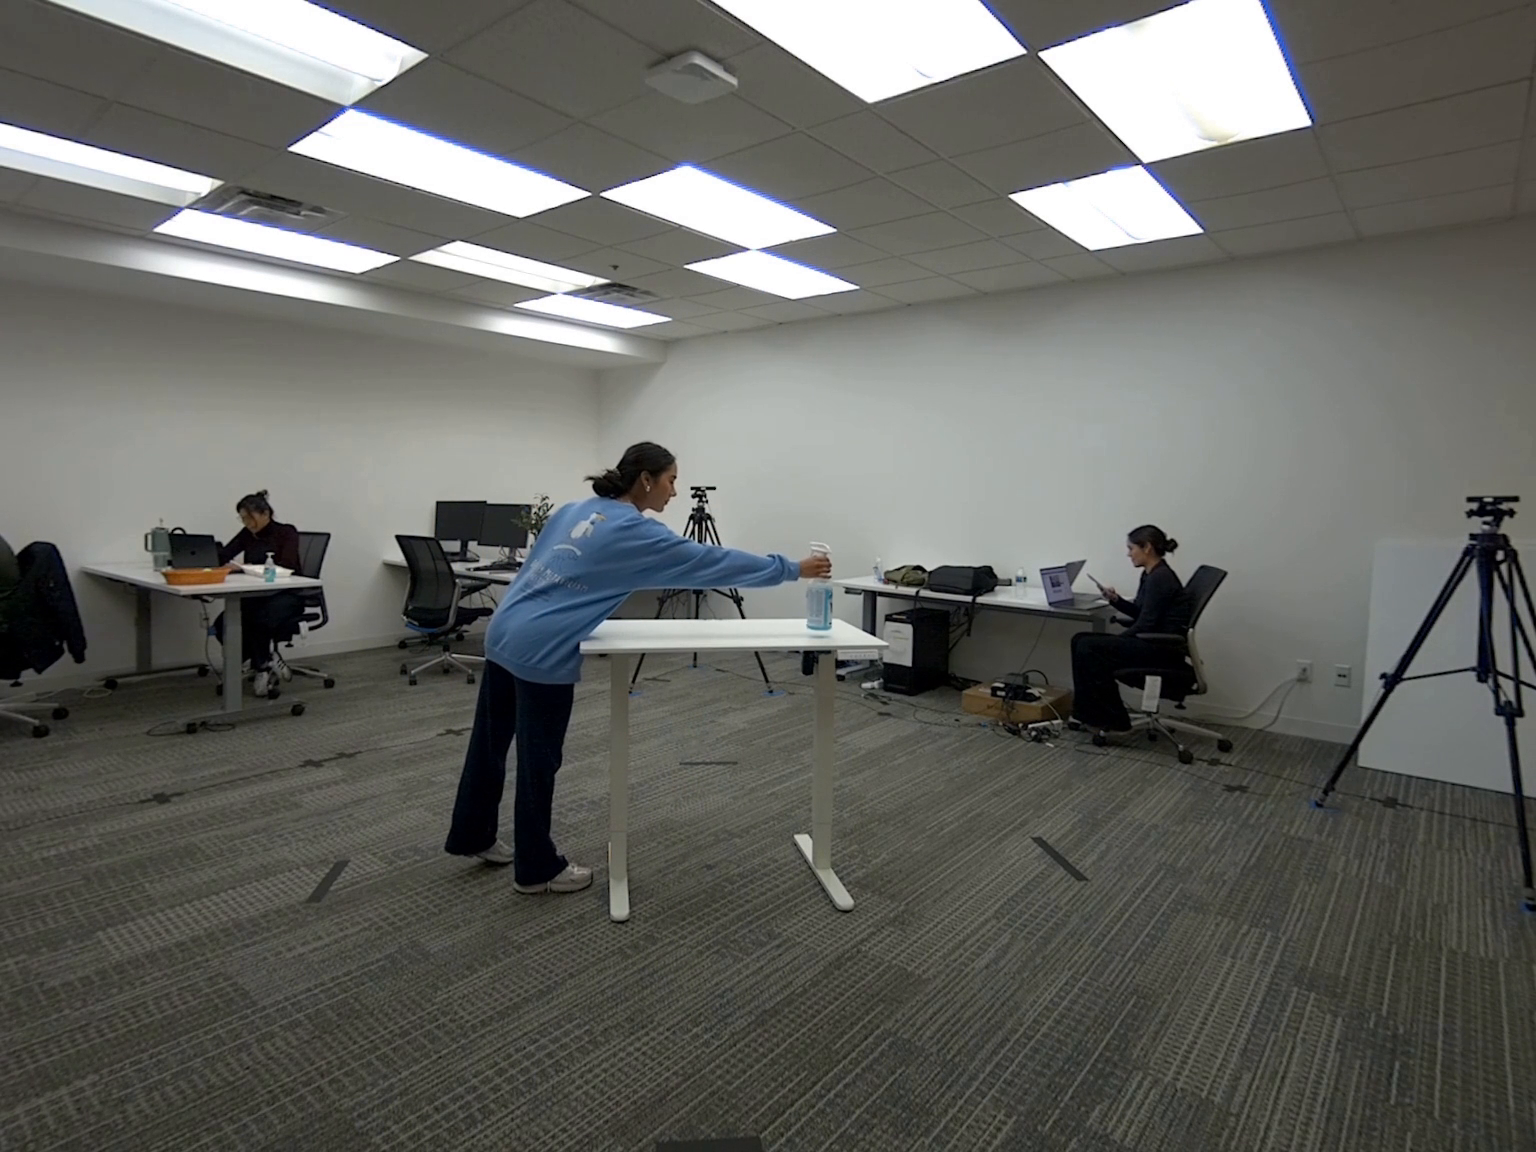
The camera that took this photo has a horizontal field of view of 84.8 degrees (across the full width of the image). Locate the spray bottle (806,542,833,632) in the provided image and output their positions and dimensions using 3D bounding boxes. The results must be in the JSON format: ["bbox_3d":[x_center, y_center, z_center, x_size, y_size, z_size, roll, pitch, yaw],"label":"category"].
[{"bbox_3d":[0.171,0.036,2.913,0.085,0.297,0.092,1,1,-26],"label":"spray bottle"}]
